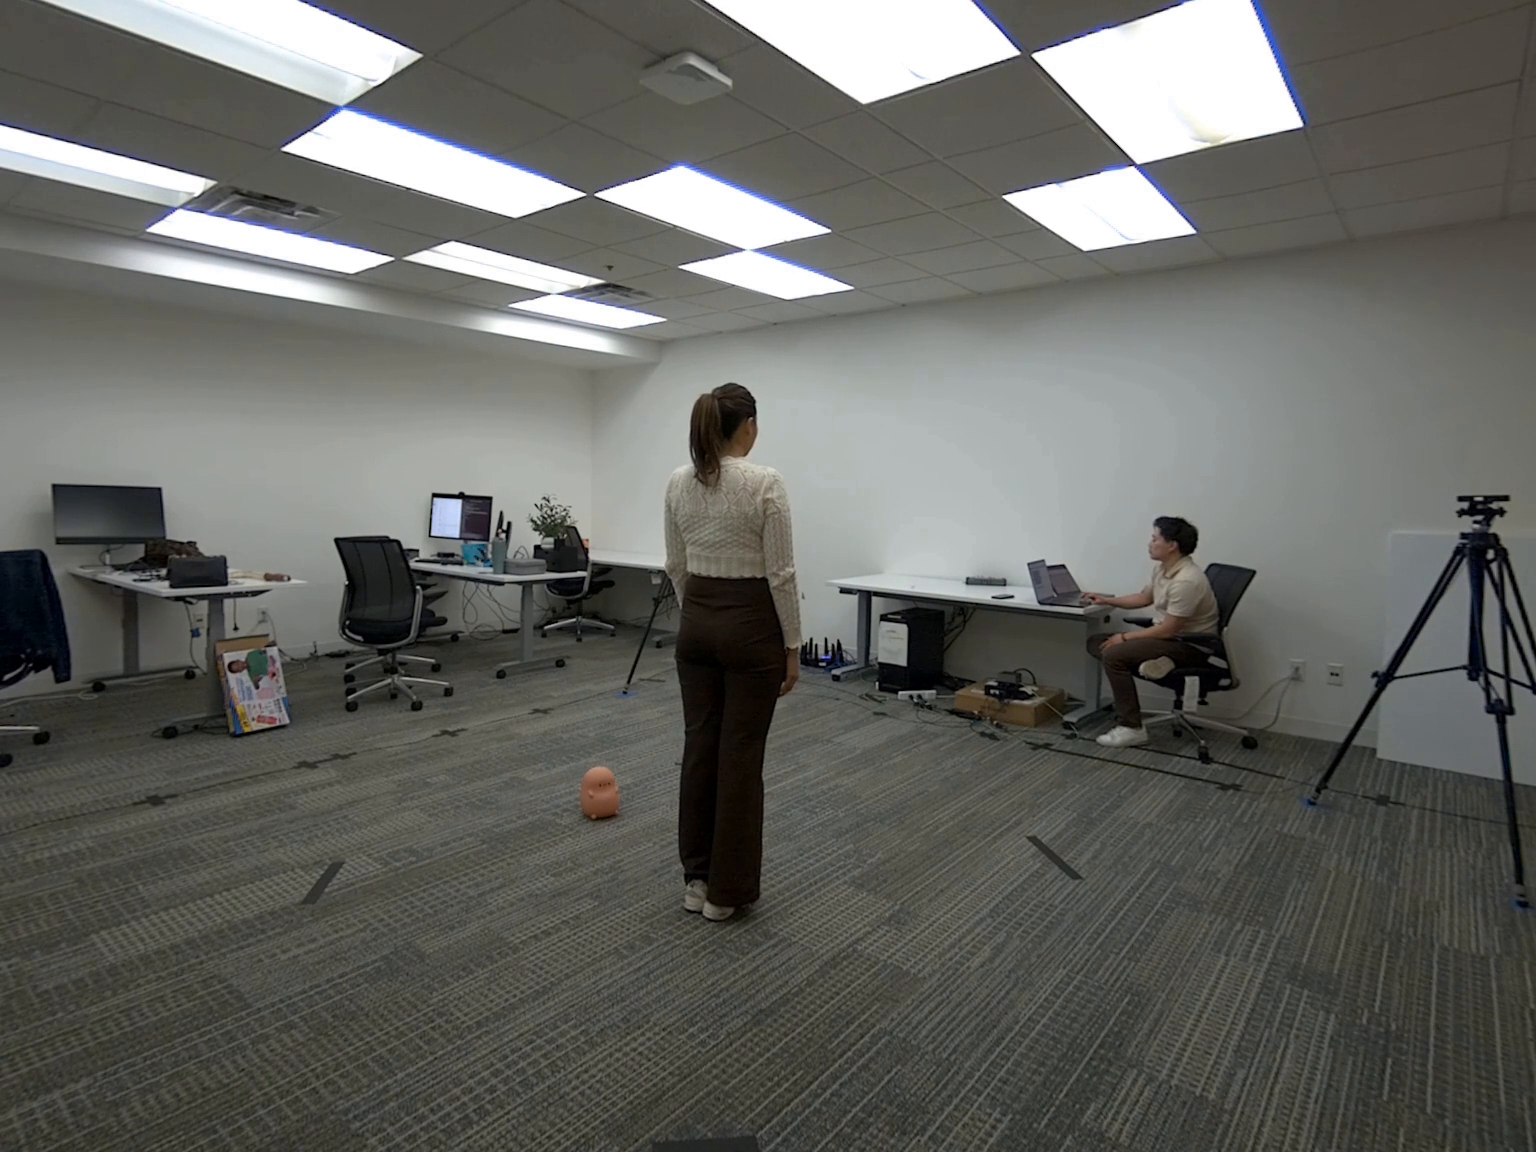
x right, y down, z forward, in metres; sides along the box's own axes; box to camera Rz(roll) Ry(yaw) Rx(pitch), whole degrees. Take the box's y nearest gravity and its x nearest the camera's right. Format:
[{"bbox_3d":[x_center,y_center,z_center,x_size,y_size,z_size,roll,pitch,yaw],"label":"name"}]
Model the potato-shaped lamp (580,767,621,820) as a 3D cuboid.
[{"bbox_3d":[-0.727,0.909,3.616,0.160,0.198,0.176,-2,3,-29],"label":"potato-shaped lamp"}]
